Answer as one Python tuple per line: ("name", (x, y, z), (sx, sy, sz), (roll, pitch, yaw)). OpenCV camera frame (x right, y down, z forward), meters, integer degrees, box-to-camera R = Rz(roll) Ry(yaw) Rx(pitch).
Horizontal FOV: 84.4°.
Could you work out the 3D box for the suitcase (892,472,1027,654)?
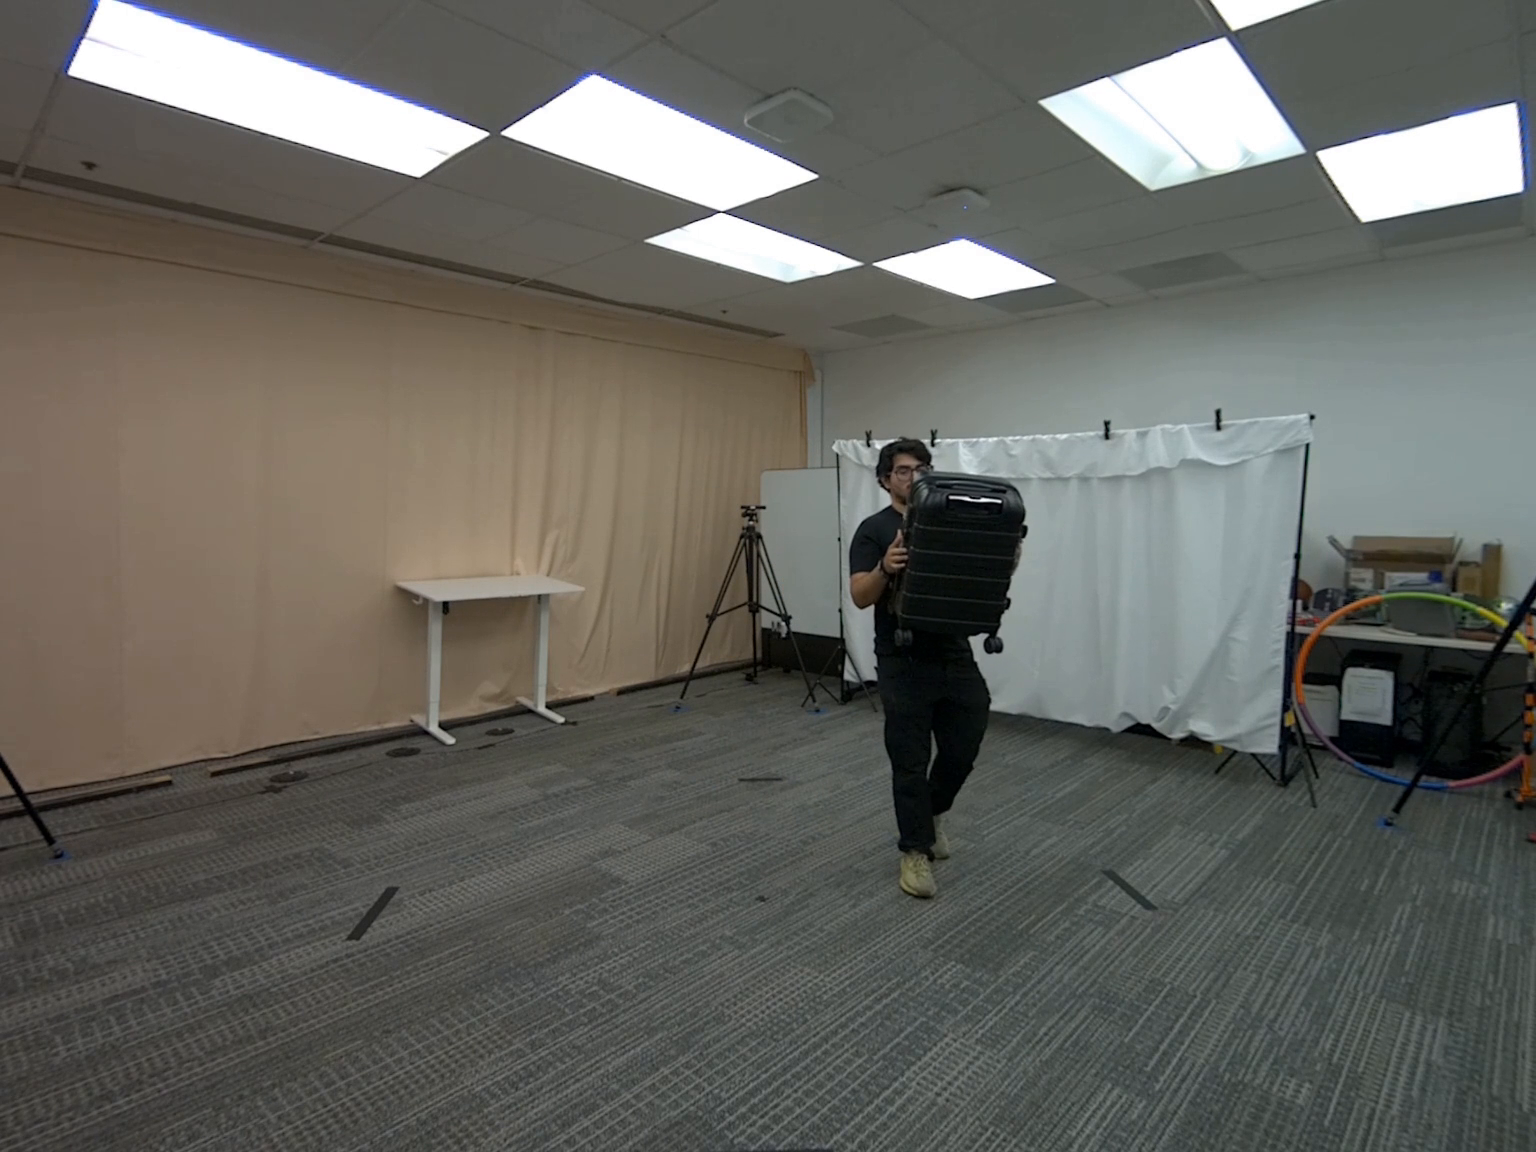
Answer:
("suitcase", (0.611, -0.065, 2.766), (0.376, 0.542, 0.251), (5, 26, 1))
